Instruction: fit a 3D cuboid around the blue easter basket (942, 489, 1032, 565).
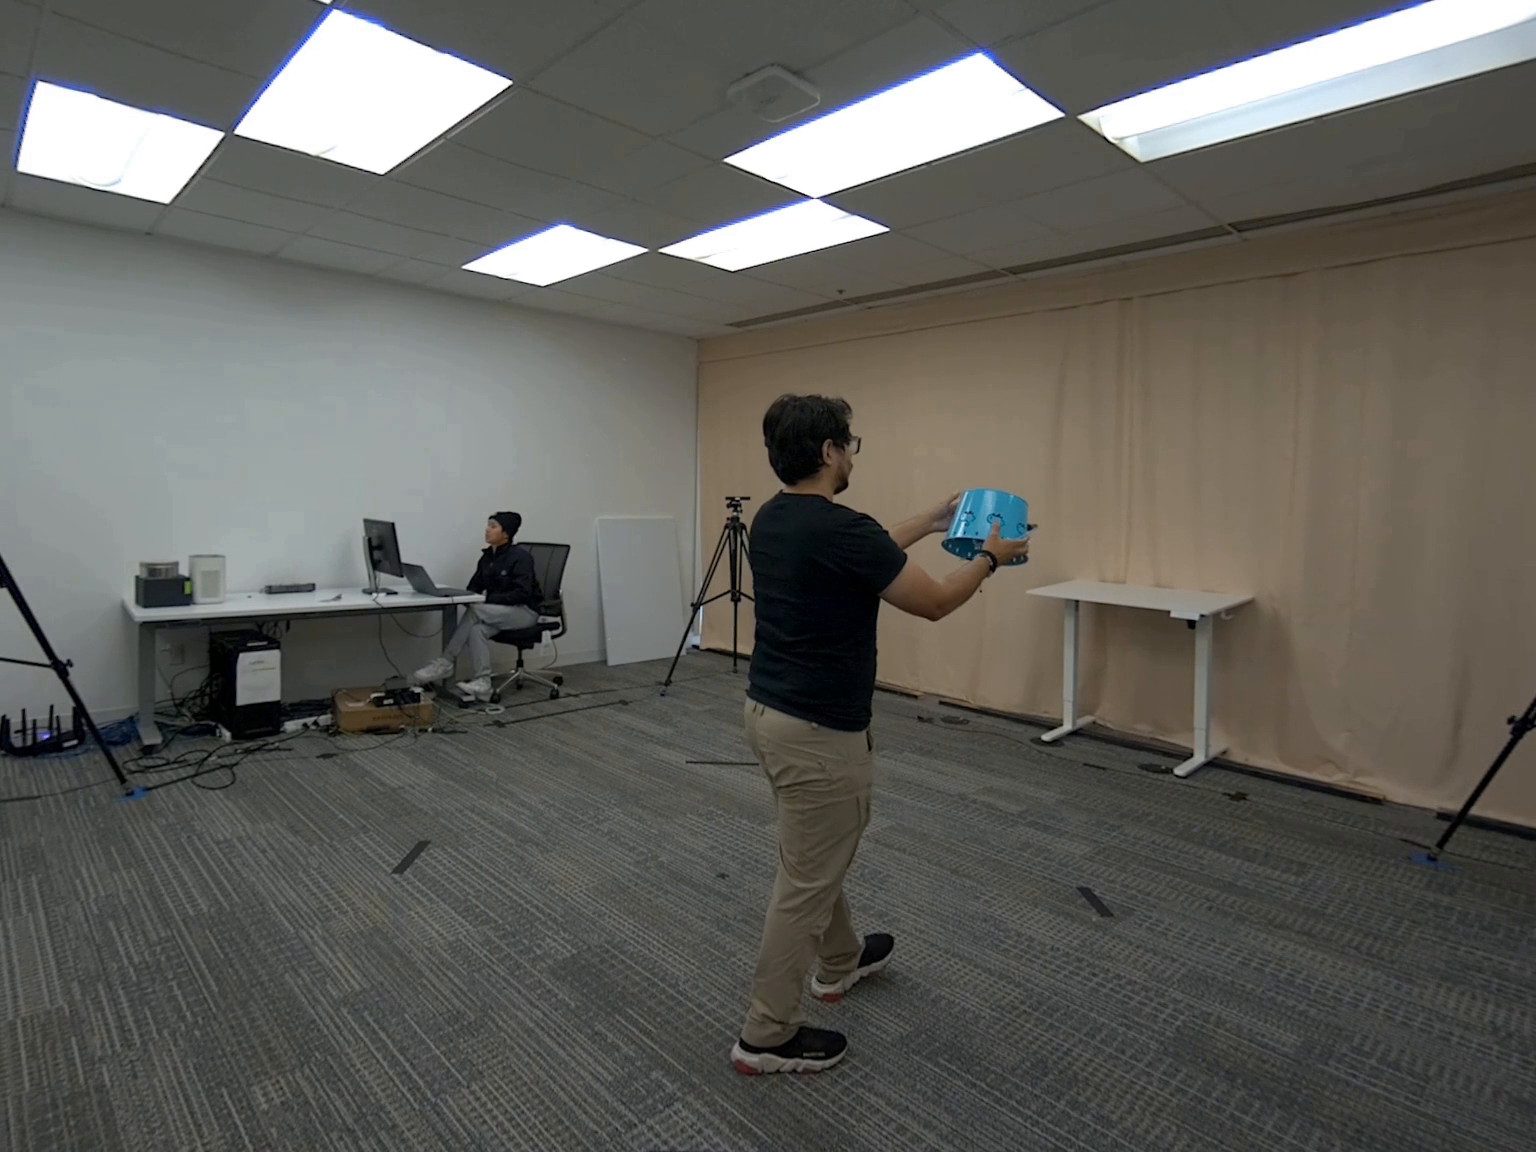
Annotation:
[{"bbox_3d":[0.622,-0.132,2.307,0.244,0.157,0.241,13,-13,2],"label":"blue easter basket"}]
